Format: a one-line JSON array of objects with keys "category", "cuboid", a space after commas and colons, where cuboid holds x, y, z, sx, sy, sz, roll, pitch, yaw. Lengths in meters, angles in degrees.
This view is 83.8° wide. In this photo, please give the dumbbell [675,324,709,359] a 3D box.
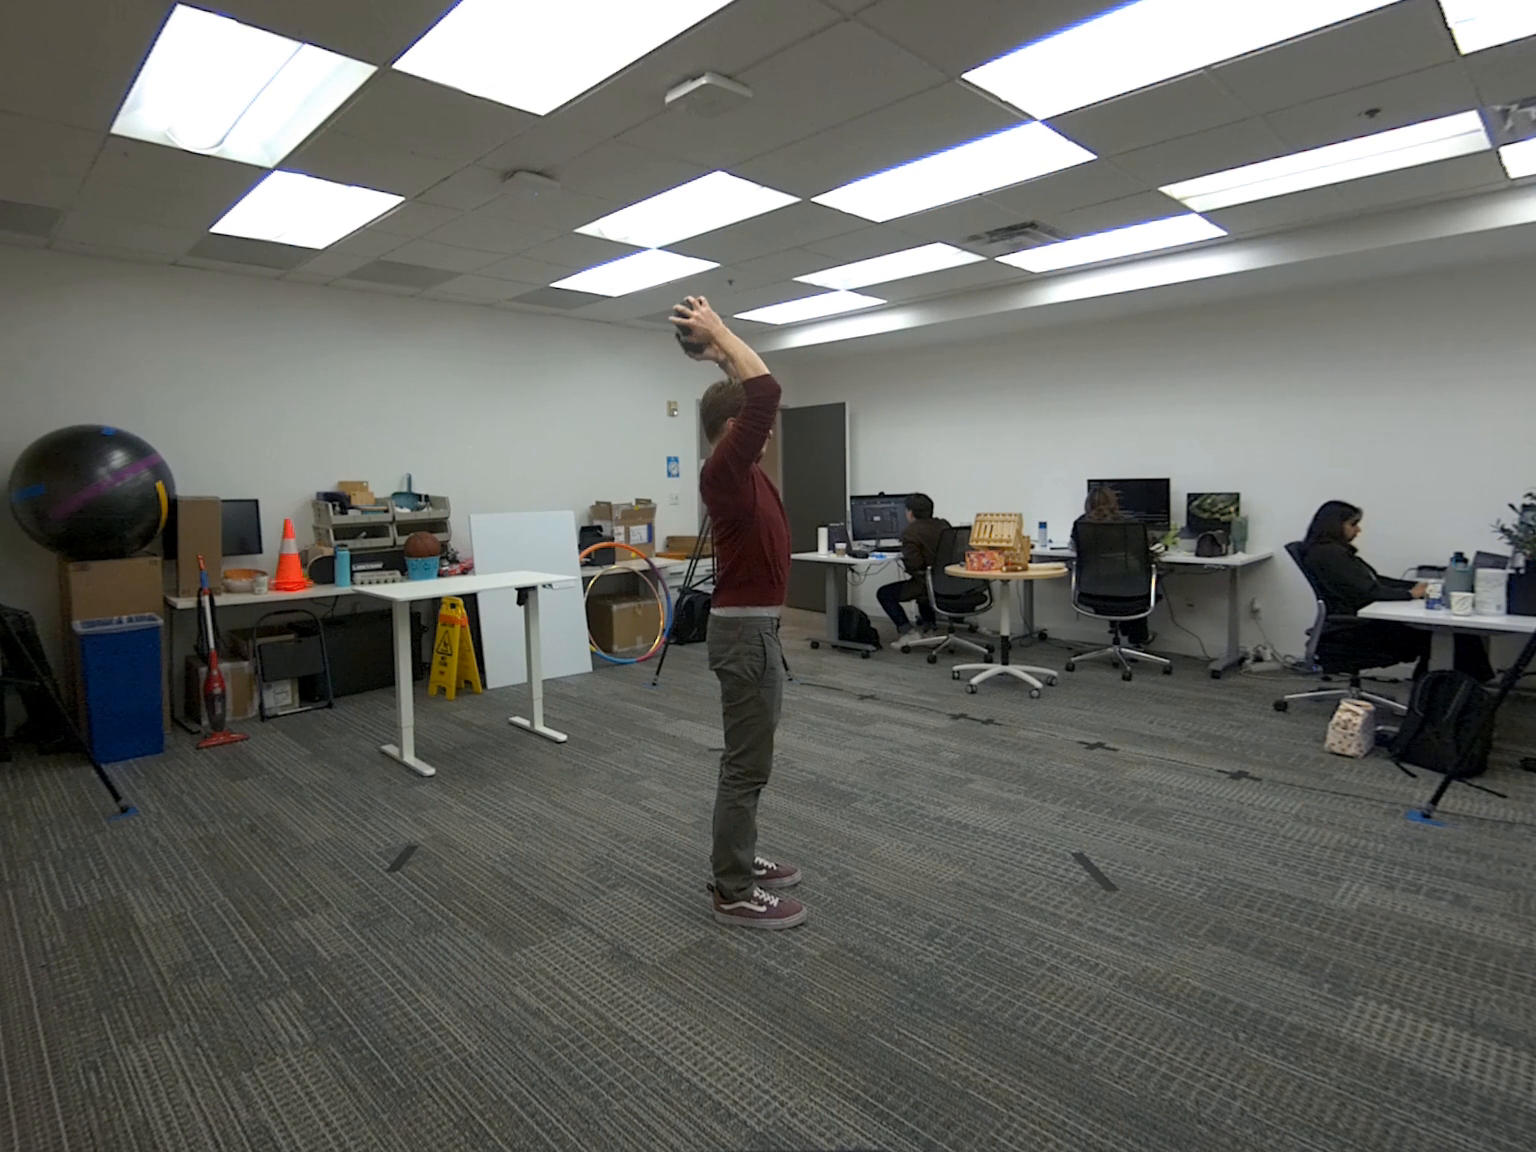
[{"category": "dumbbell", "cuboid": [-0.233, -0.806, 2.772, 0.123, 0.108, 0.294, 3, 2, -2]}]
